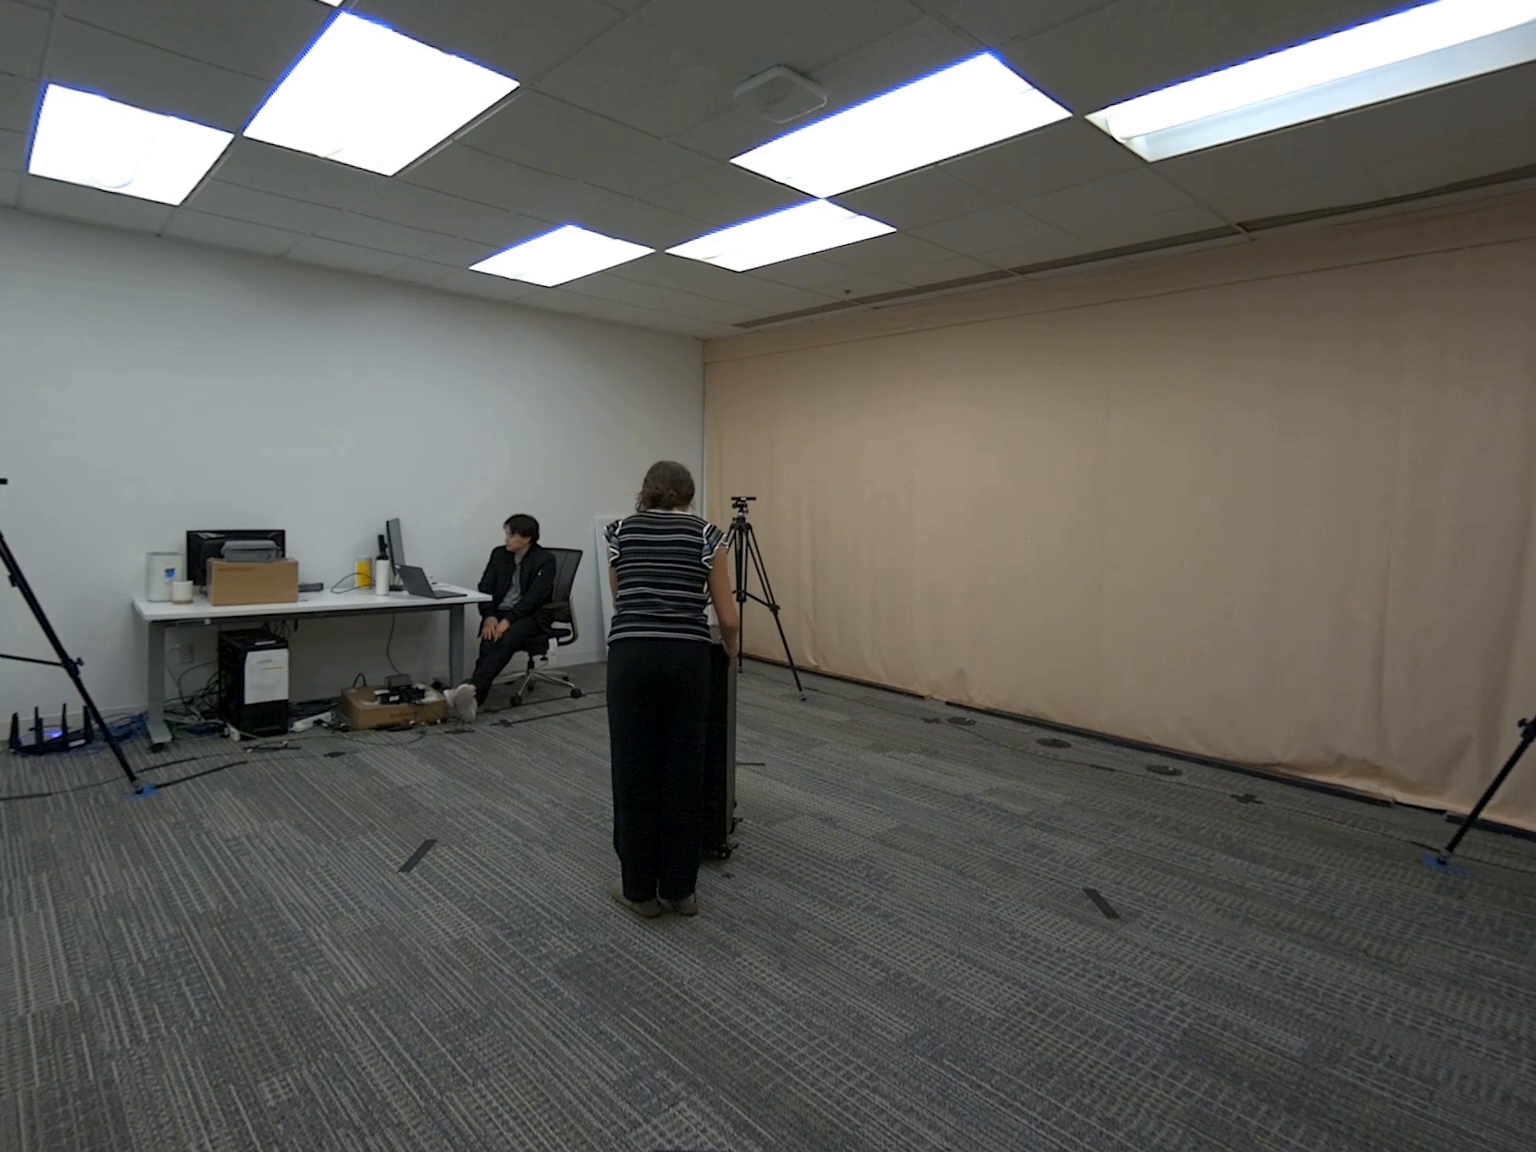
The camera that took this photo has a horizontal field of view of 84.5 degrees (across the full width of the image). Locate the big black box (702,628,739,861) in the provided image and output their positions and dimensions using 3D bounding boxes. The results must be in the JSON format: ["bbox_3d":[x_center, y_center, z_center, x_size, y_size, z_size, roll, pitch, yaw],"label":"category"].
[{"bbox_3d":[-0.340,0.663,3.377,0.397,0.859,0.521,0,3,3],"label":"big black box"}]
